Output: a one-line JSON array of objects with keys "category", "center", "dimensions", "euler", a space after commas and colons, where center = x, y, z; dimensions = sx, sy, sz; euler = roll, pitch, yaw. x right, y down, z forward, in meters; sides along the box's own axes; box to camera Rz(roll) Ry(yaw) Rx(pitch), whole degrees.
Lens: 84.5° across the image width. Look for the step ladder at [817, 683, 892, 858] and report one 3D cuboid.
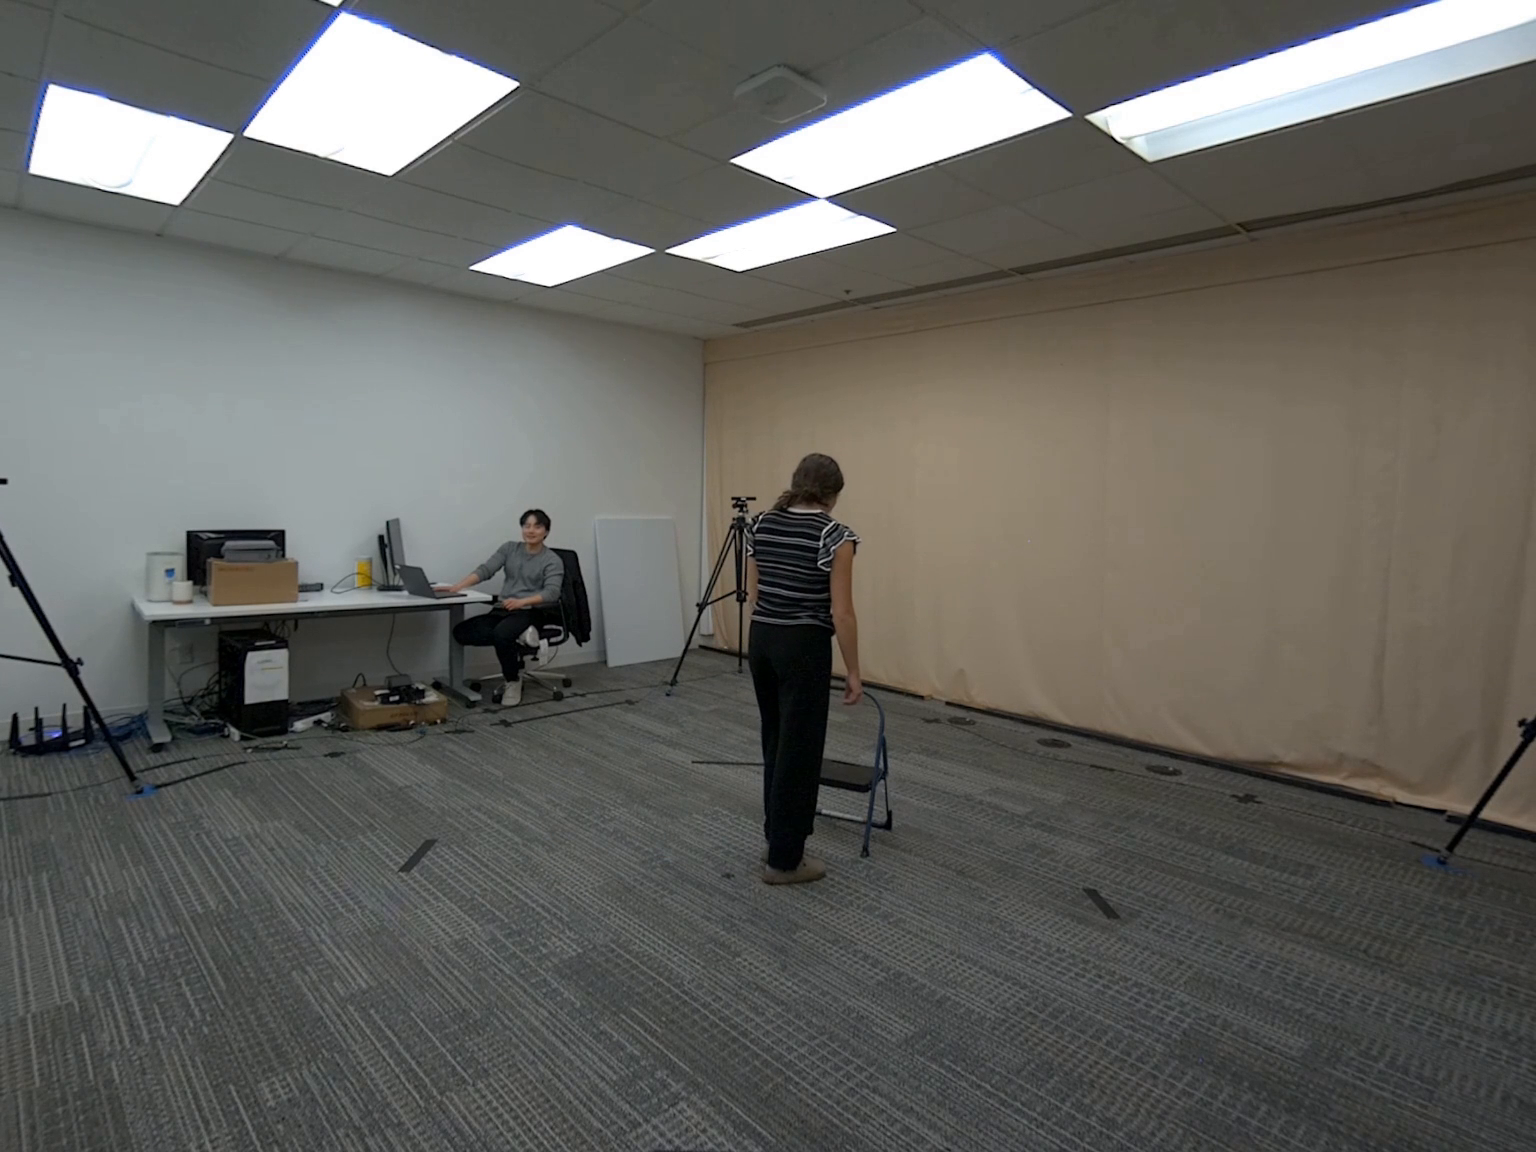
[{"category": "step ladder", "center": [0.278, 0.778, 3.538], "dimensions": [0.440, 0.605, 0.342], "euler": [3, 3, 28]}]
